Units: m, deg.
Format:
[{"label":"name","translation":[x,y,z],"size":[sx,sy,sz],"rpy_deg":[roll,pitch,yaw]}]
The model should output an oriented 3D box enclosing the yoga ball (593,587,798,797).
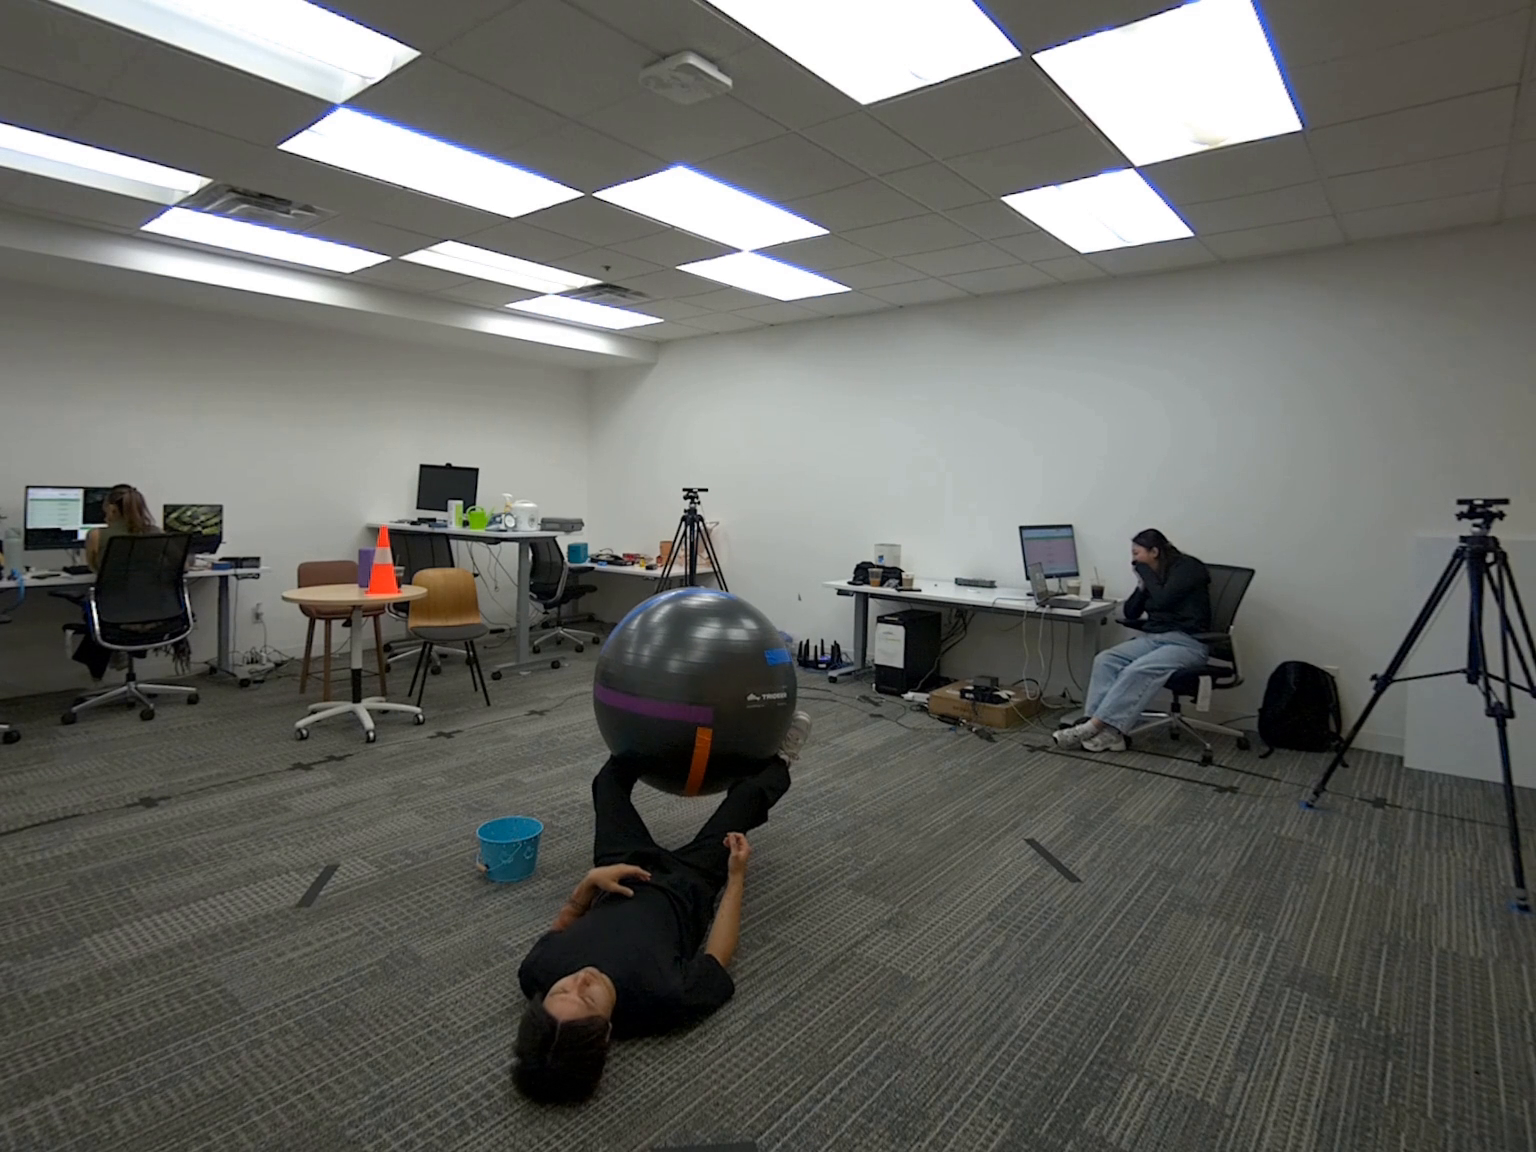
[{"label":"yoga ball","translation":[-0.279,0.428,3.161],"size":[0.757,0.755,0.762],"rpy_deg":[1,4,-2]}]
